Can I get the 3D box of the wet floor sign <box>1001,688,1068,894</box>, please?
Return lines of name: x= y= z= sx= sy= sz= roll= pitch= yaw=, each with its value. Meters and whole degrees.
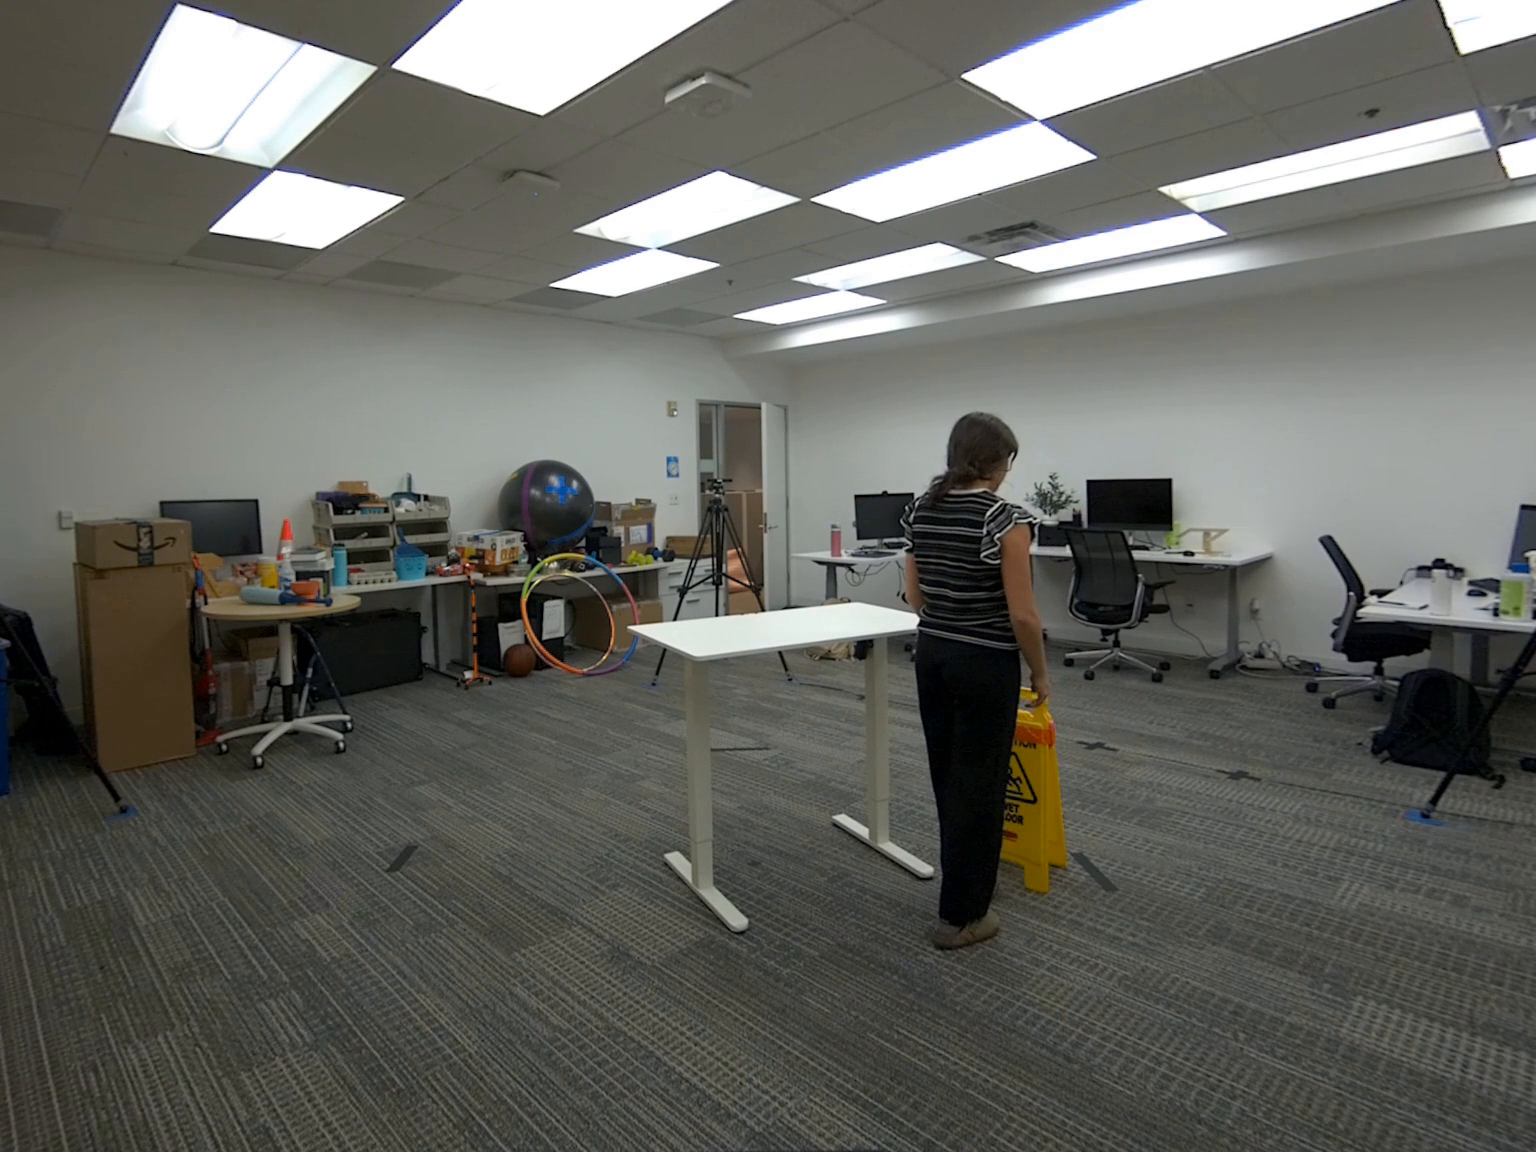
wet floor sign: x=0.884 y=0.719 z=3.001 sx=0.290 sy=0.644 sz=0.282 roll=2 pitch=5 yaw=35
